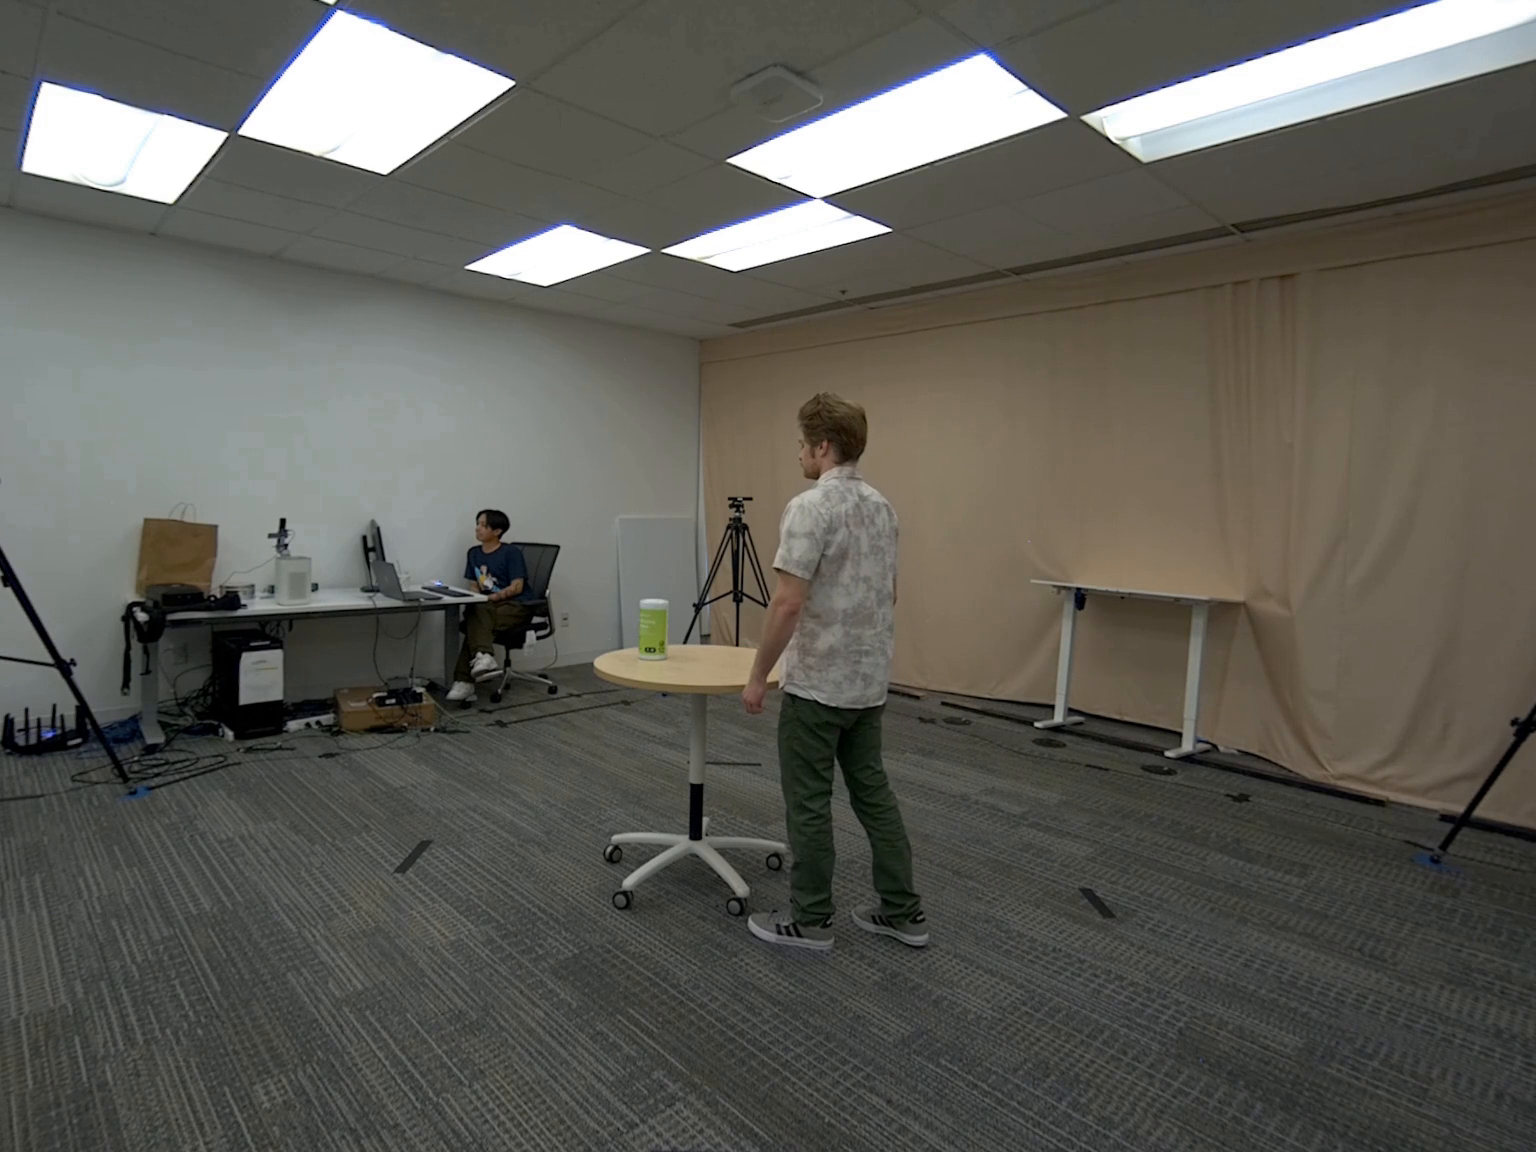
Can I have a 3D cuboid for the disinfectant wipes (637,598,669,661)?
[{"bbox_3d":[-0.429,0.199,3.121,0.118,0.217,0.118,3,3,-2],"label":"disinfectant wipes"}]
